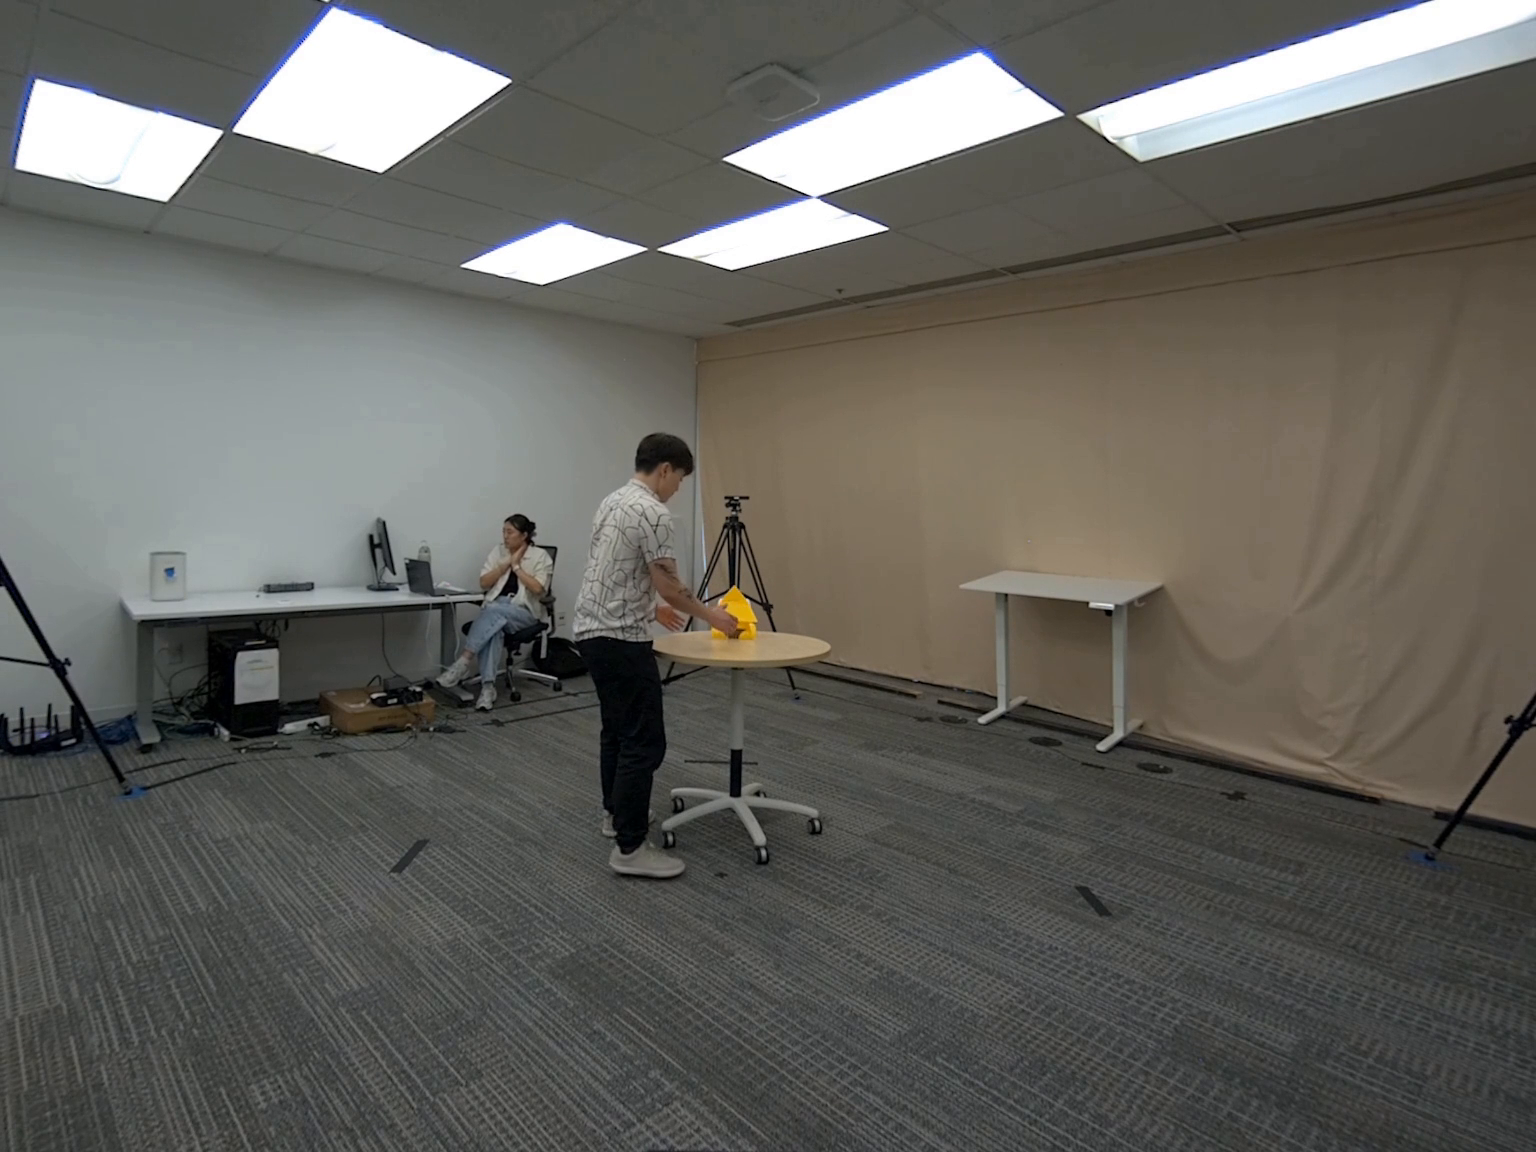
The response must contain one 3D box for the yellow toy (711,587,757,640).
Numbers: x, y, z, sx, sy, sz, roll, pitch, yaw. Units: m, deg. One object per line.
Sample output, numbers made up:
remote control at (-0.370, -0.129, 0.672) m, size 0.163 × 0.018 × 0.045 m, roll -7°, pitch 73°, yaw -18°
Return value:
yellow toy at (-0.161, 0.152, 3.724) m, size 0.205 × 0.230 × 0.193 m, roll 2°, pitch 4°, yaw 0°
